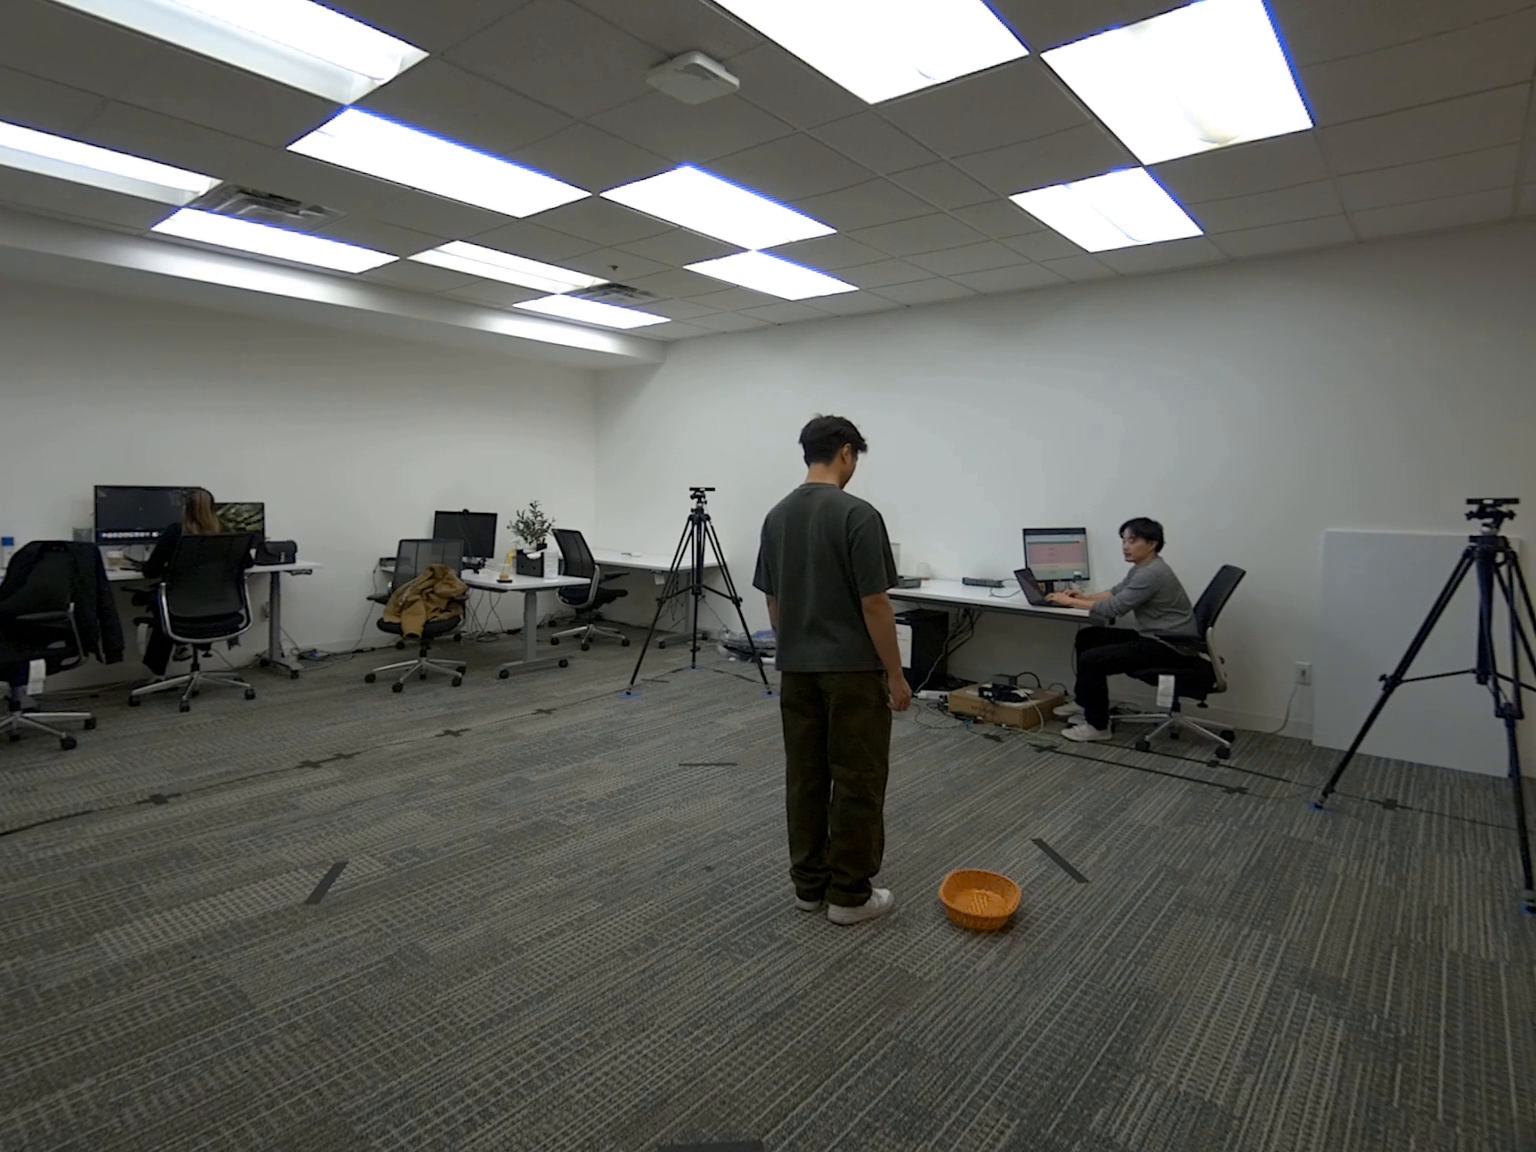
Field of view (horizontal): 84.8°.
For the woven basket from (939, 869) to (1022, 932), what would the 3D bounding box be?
[{"bbox_3d":[0.699,1.082,2.834,0.260,0.073,0.342,5,7,29],"label":"woven basket"}]
